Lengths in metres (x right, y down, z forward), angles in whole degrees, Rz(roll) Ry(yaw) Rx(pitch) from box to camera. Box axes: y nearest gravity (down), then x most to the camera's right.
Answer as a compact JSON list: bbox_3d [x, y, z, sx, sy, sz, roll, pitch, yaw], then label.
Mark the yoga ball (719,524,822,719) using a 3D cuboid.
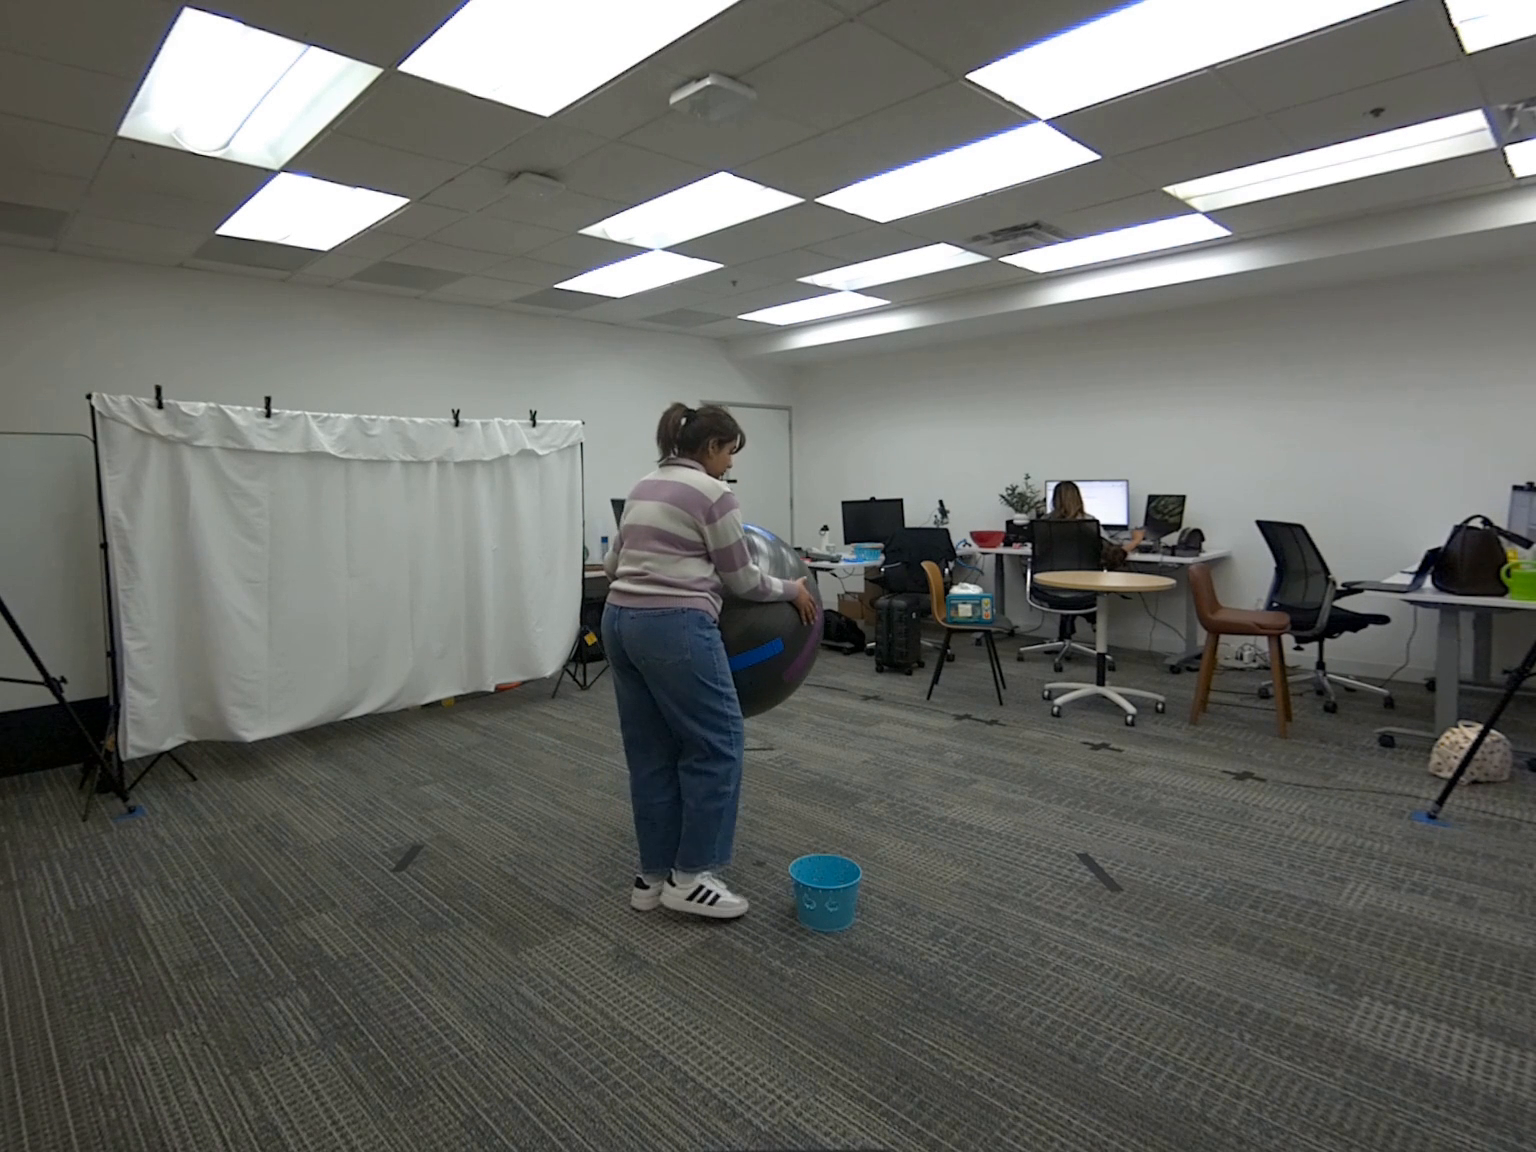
[{"bbox_3d":[-0.157,0.183,3.272,0.757,0.755,0.762,-1,5,-2],"label":"yoga ball"}]
